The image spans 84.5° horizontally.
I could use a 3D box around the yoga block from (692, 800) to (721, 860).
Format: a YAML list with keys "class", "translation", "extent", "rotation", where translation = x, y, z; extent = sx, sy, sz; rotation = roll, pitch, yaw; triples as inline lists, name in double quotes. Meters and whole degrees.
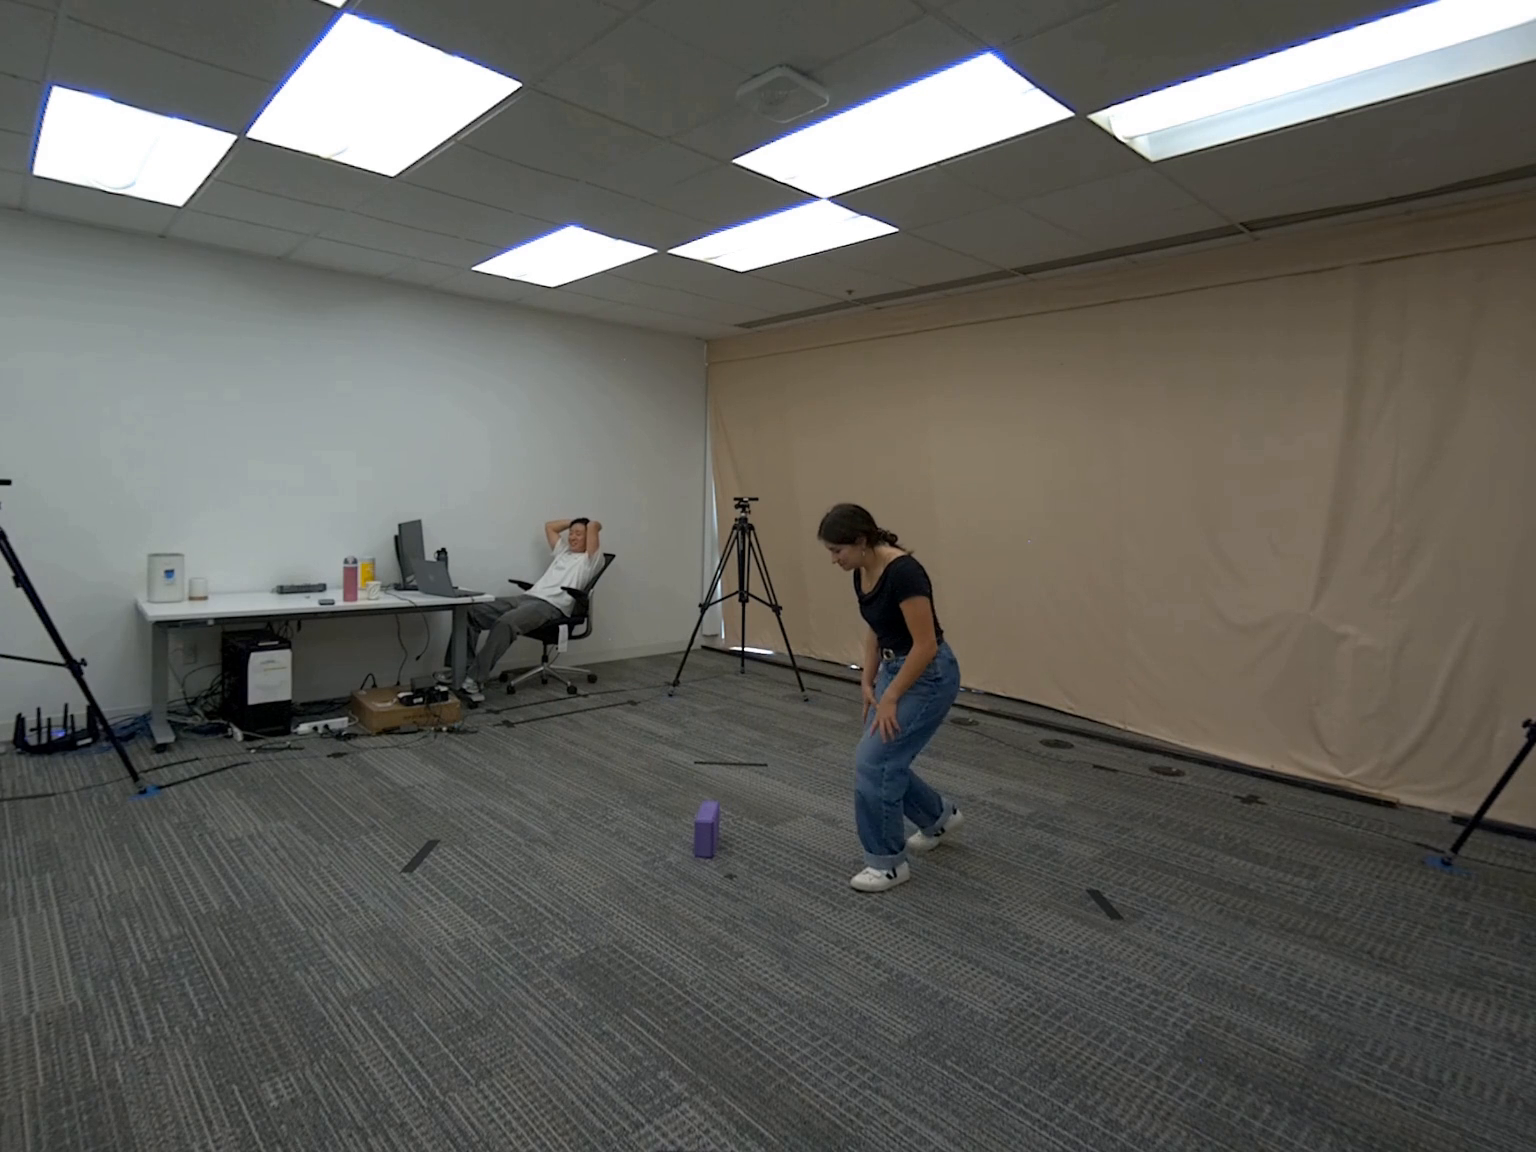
- class: "yoga block"
  translation: [-0.249, 1.009, 3.359]
  extent: [0.077, 0.148, 0.229]
  rotation: [-2, 5, 3]
